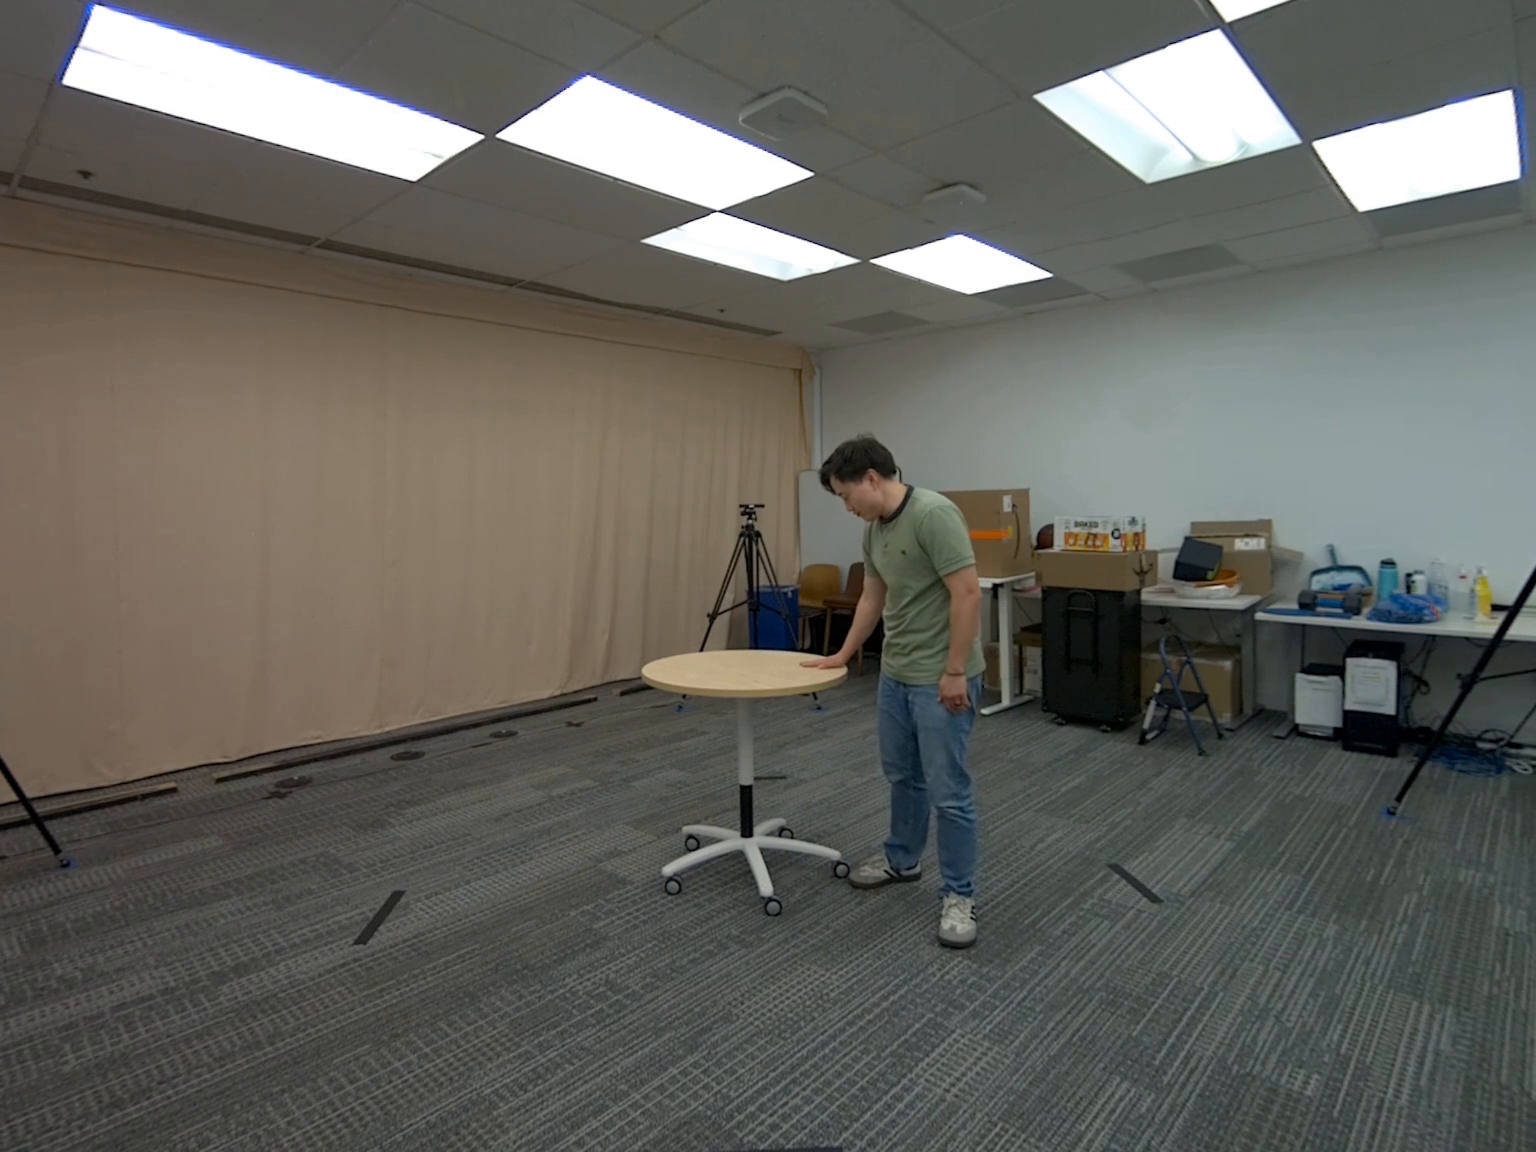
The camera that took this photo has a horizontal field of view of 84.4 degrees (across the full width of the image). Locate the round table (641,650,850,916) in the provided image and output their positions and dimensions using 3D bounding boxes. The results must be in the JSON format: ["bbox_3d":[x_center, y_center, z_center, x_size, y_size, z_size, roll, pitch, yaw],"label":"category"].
[{"bbox_3d":[-0.082,0.737,3.172,0.763,0.792,0.767,-1,4,-2],"label":"round table"}]
